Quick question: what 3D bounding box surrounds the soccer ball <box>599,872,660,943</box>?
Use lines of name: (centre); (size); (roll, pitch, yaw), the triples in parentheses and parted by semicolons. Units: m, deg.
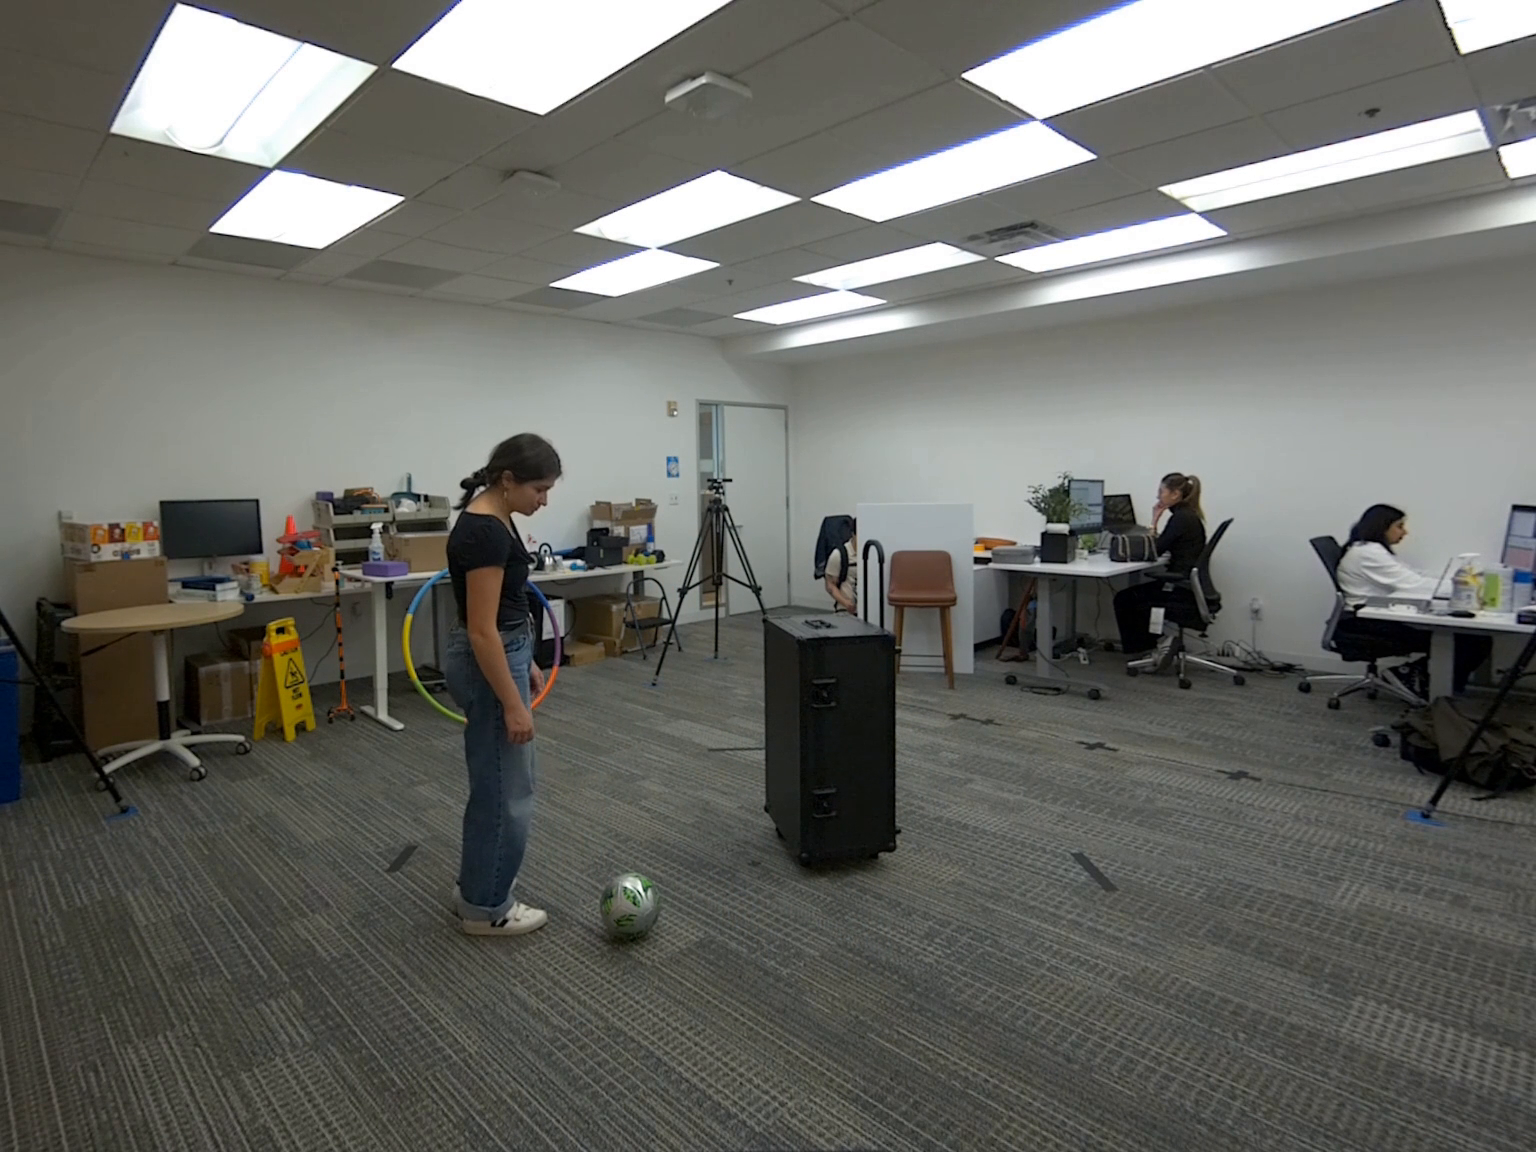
soccer ball: (-0.419, 1.011, 2.627); (0.187, 0.187, 0.188); (-1, 5, -2)
